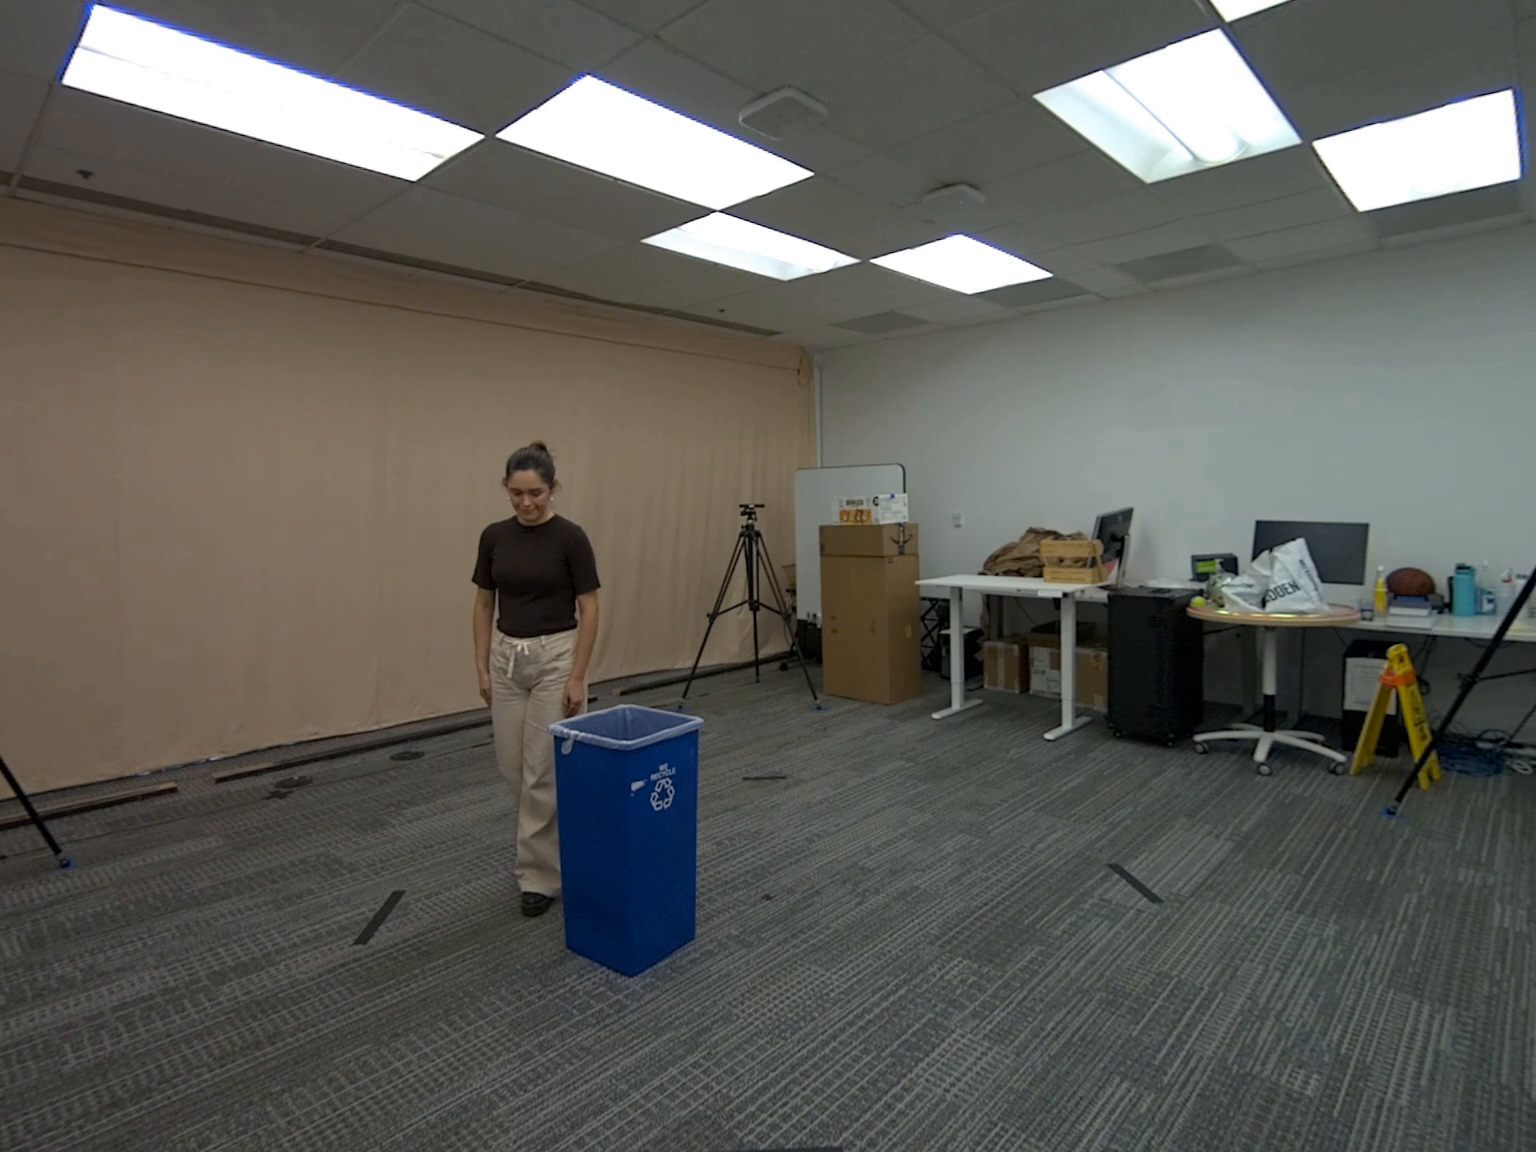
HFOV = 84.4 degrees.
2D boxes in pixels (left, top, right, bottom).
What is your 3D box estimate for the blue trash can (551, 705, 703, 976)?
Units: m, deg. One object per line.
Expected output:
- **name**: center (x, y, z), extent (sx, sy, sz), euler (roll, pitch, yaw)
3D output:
- **blue trash can**: center (-0.439, 0.816, 2.680), extent (0.390, 0.712, 0.363), euler (2, 4, 37)
